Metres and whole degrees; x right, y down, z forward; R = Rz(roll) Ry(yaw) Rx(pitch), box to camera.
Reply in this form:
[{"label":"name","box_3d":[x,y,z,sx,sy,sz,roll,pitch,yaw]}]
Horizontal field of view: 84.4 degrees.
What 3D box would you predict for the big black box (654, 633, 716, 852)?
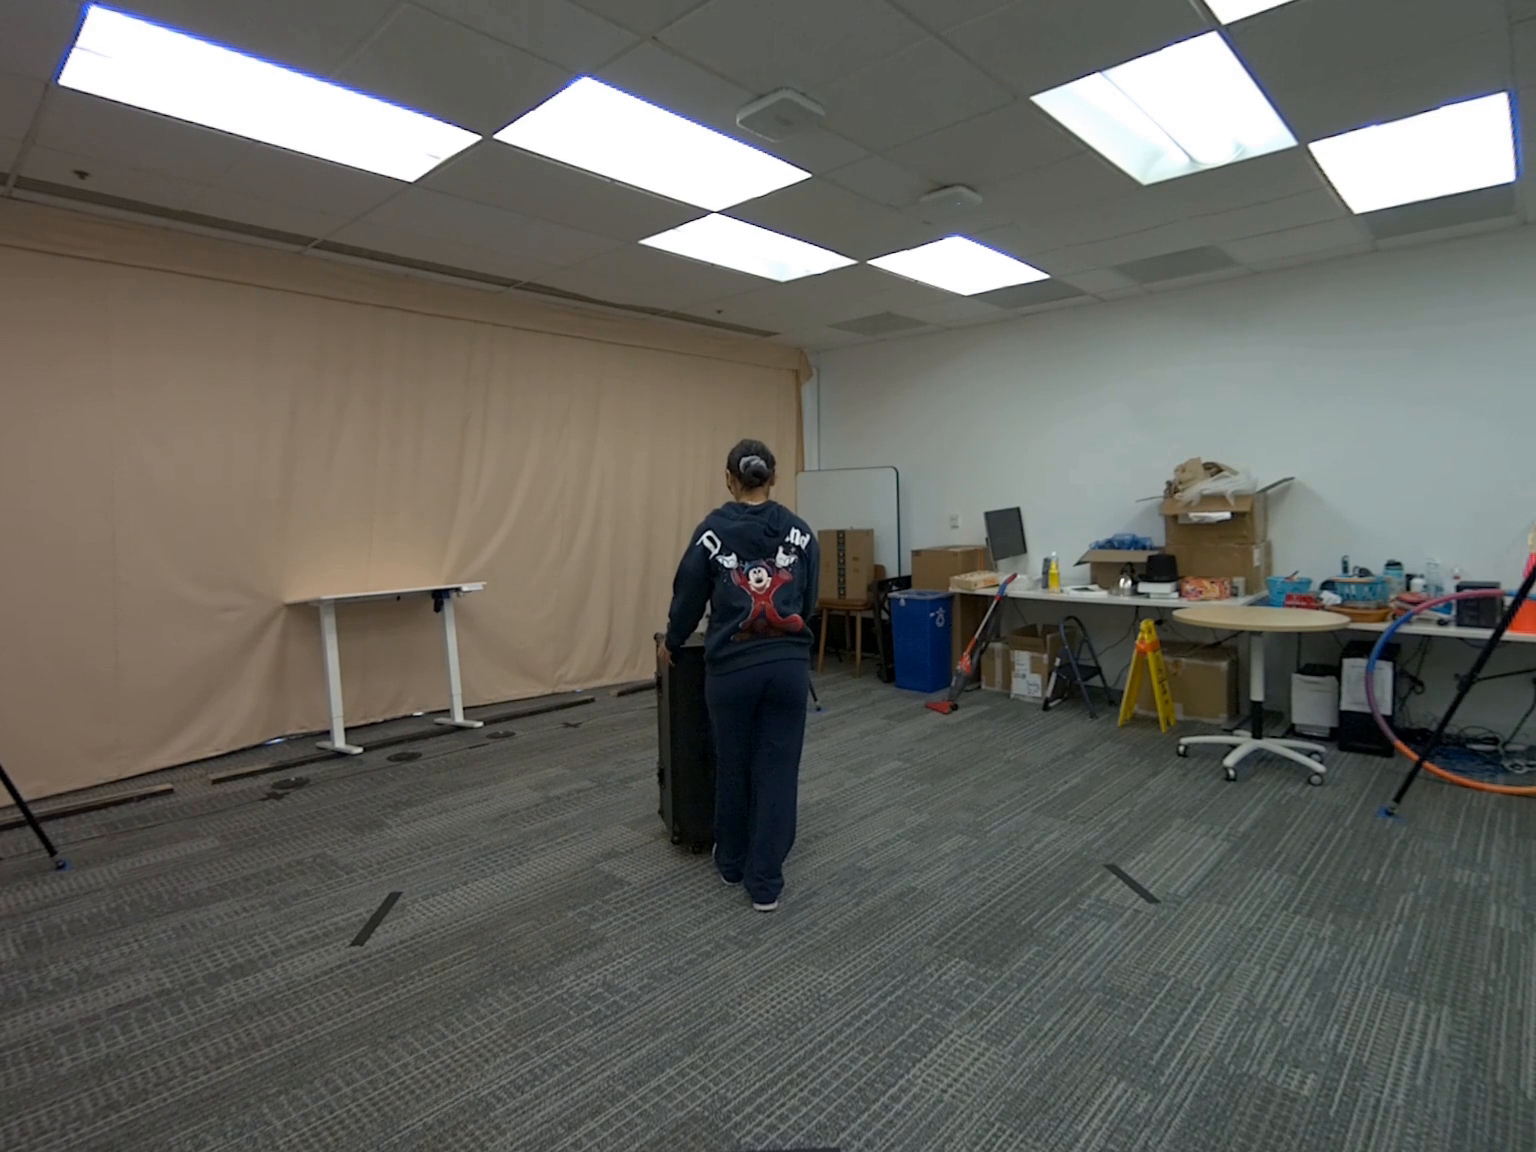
[{"label":"big black box","box_3d":[-0.185,0.675,3.493,0.514,0.859,0.403,-1,5,-14]}]
